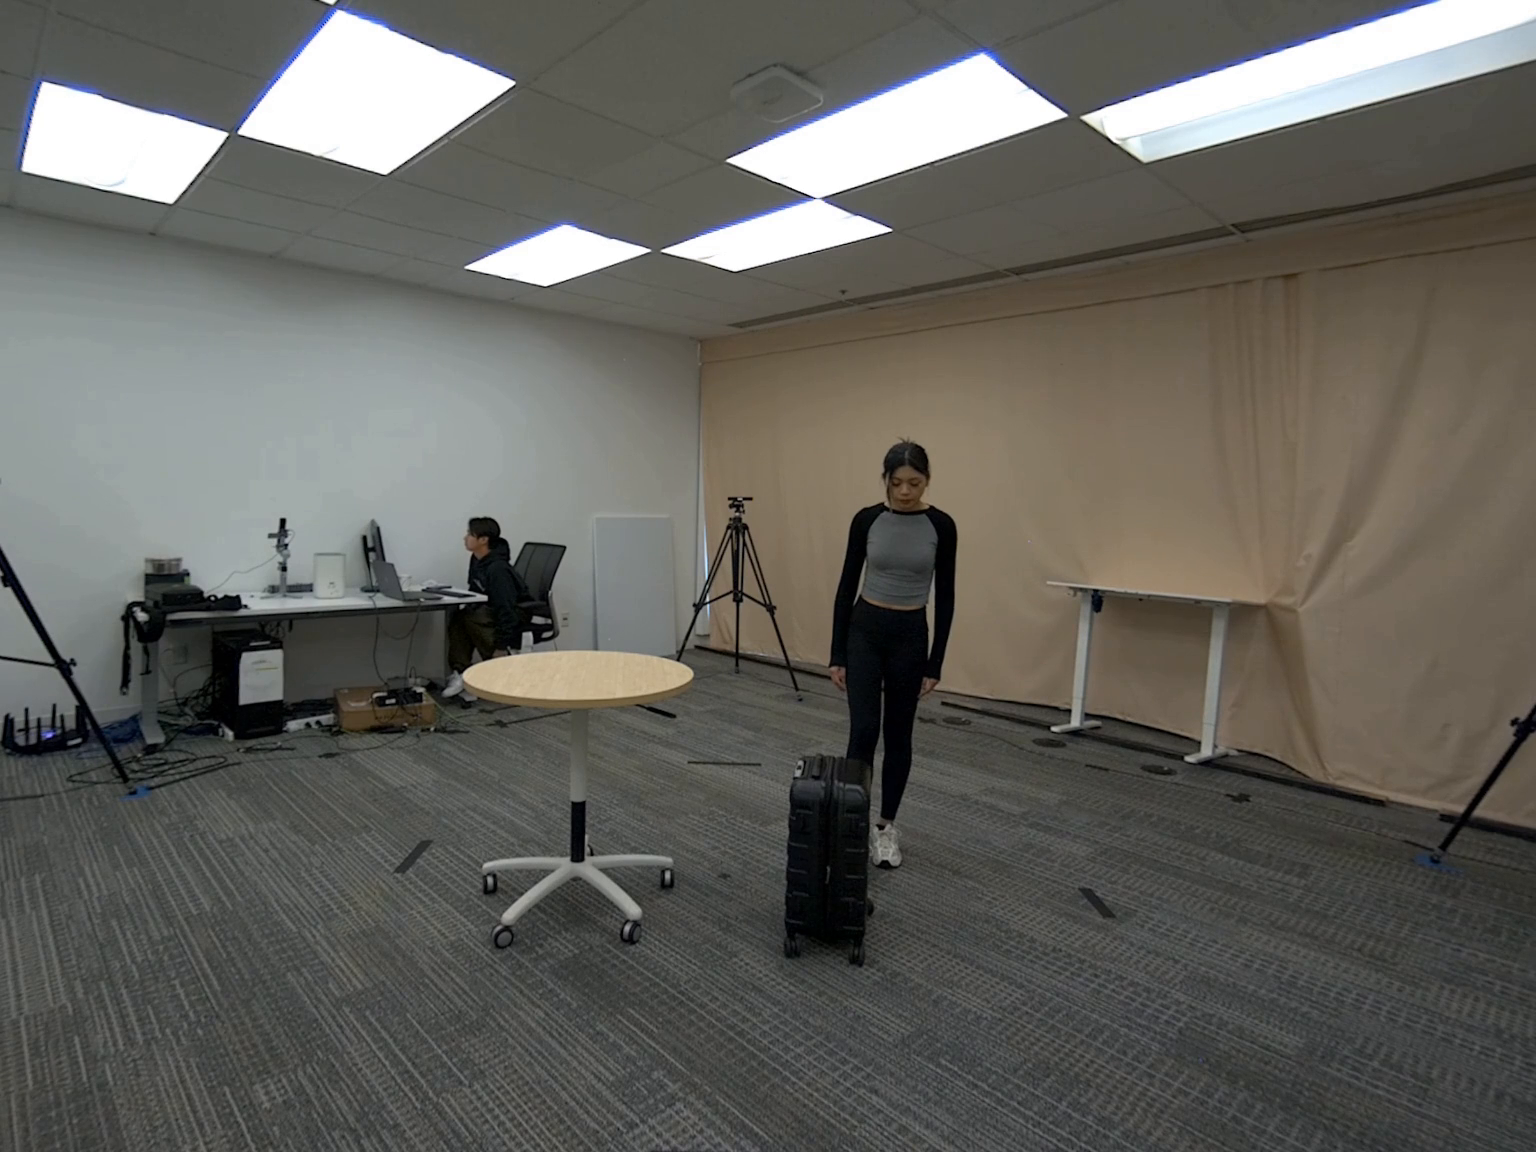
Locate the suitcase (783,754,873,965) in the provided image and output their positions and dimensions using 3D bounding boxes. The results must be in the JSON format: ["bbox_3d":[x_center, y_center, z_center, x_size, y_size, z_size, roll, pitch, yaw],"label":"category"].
[{"bbox_3d":[0.200,0.885,2.696,0.250,0.548,0.373,4,3,7],"label":"suitcase"}]
